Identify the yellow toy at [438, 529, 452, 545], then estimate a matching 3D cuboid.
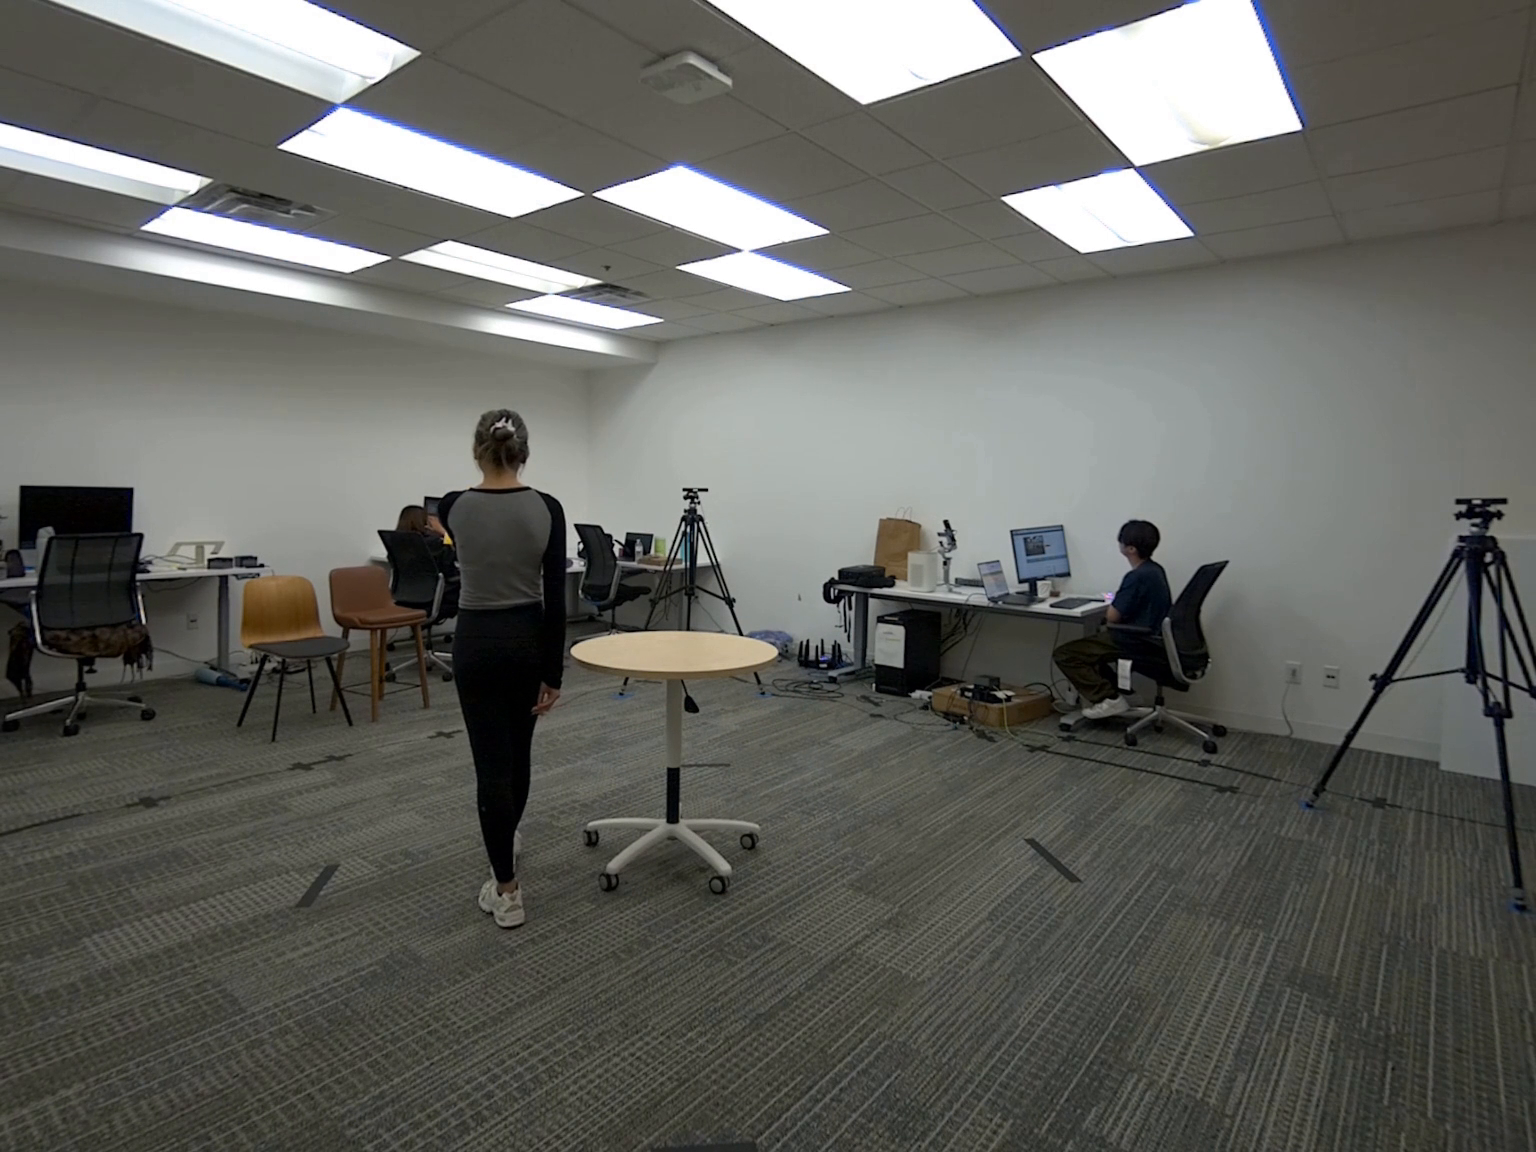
[{"bbox_3d":[-1.138,-0.233,3.270,0.199,0.231,0.198,5,-2,-28],"label":"yellow toy"}]
